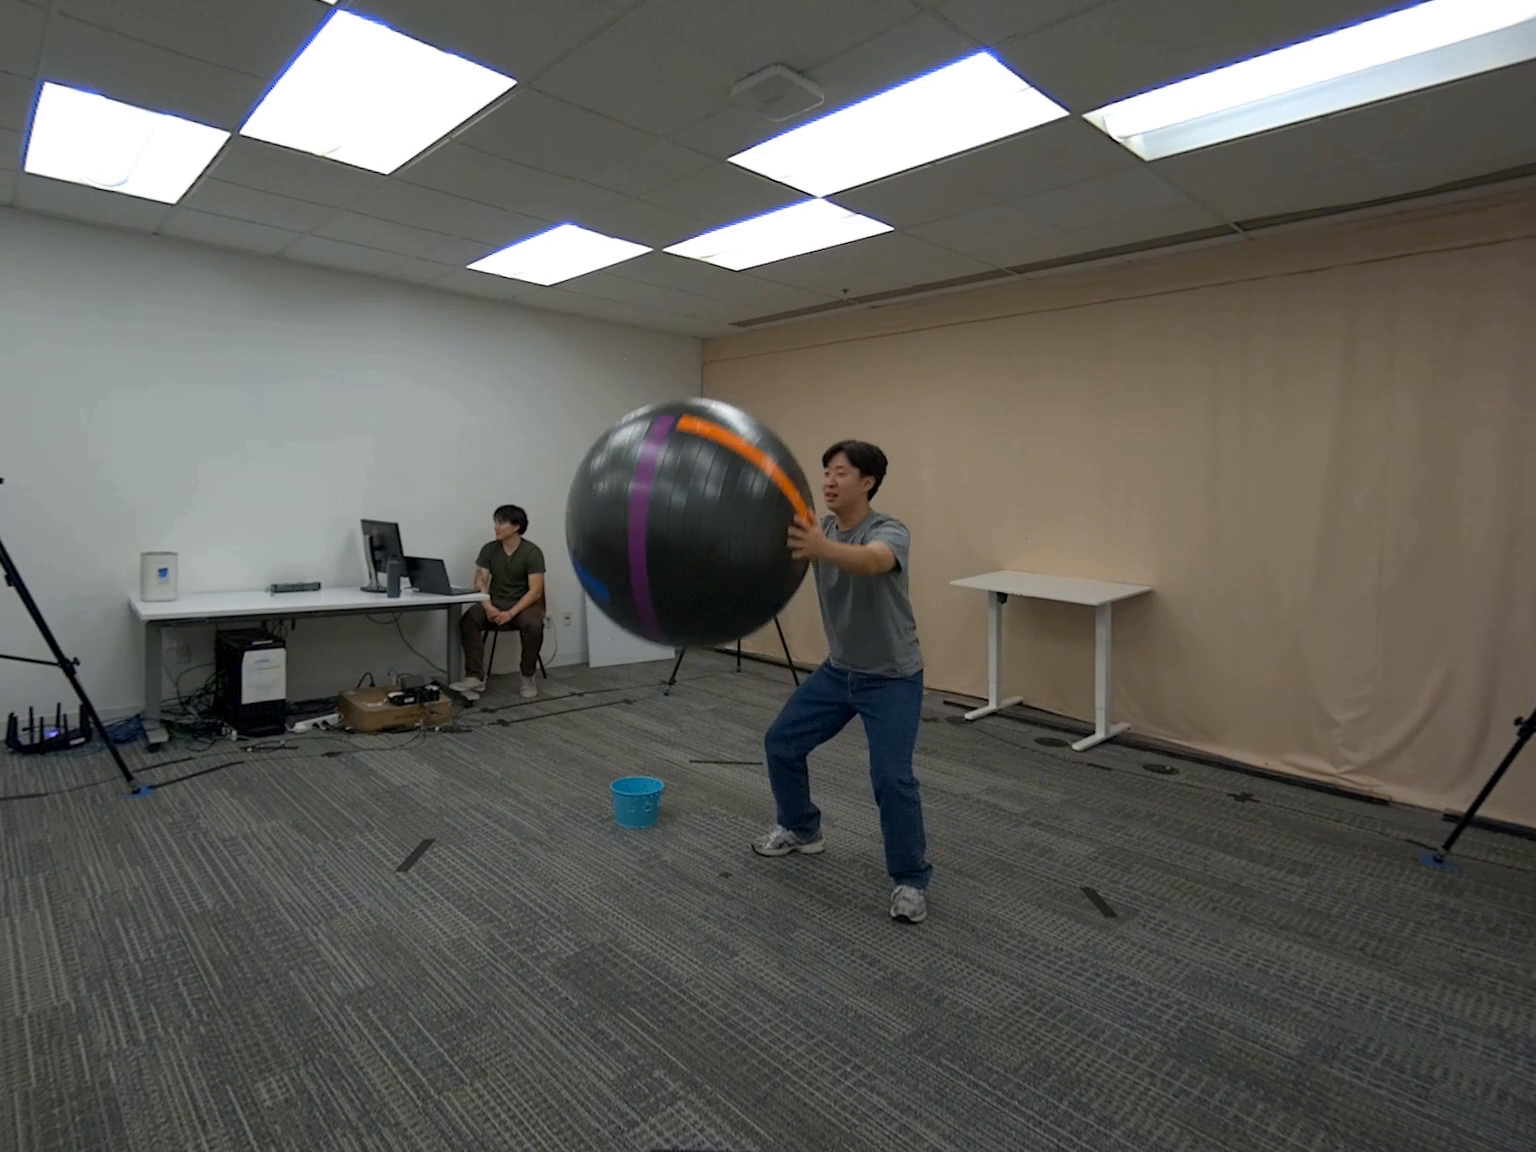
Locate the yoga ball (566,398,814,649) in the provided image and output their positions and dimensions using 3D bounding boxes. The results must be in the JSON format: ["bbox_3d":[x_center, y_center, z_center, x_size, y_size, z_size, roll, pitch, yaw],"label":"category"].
[{"bbox_3d":[-0.219,-0.145,2.589,0.757,0.756,0.761,1,4,-1],"label":"yoga ball"}]
